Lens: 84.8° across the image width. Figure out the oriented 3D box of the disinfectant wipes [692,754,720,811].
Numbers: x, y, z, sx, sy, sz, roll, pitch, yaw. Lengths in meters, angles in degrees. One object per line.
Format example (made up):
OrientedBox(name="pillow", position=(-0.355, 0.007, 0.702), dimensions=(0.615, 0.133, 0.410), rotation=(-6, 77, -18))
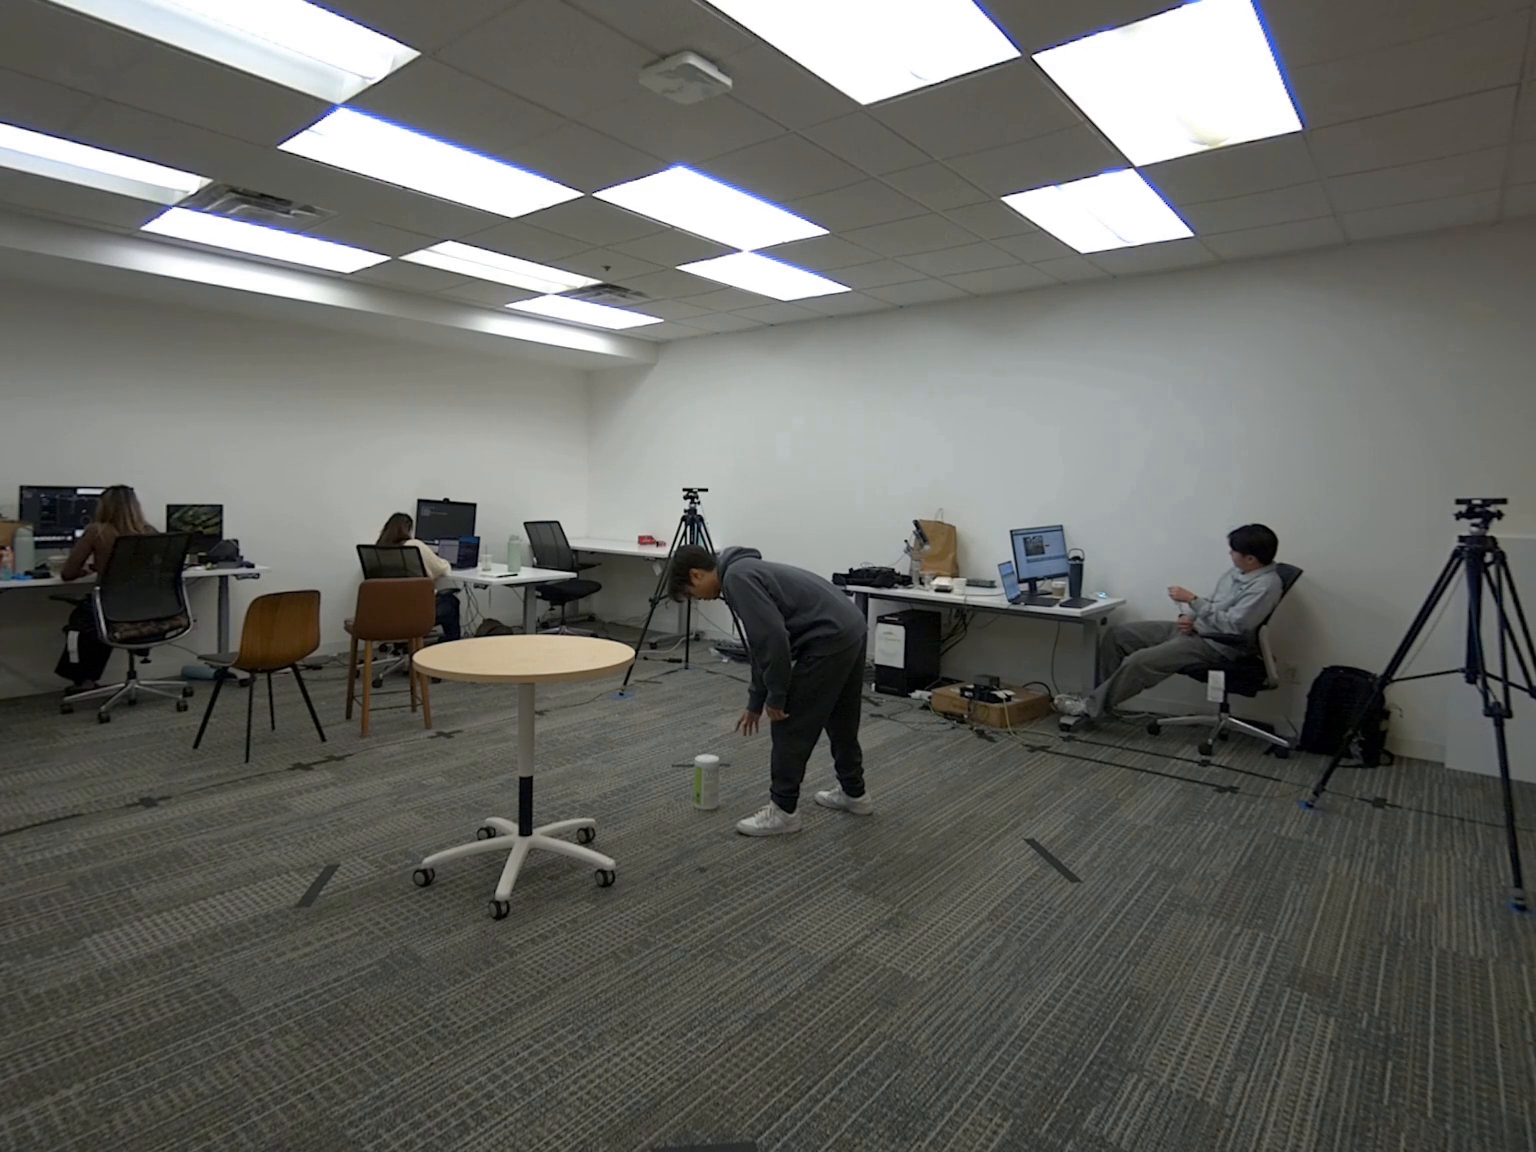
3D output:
OrientedBox(name="disinfectant wipes", position=(-0.278, 0.900, 3.741), dimensions=(0.118, 0.217, 0.118), rotation=(0, 2, -2))
